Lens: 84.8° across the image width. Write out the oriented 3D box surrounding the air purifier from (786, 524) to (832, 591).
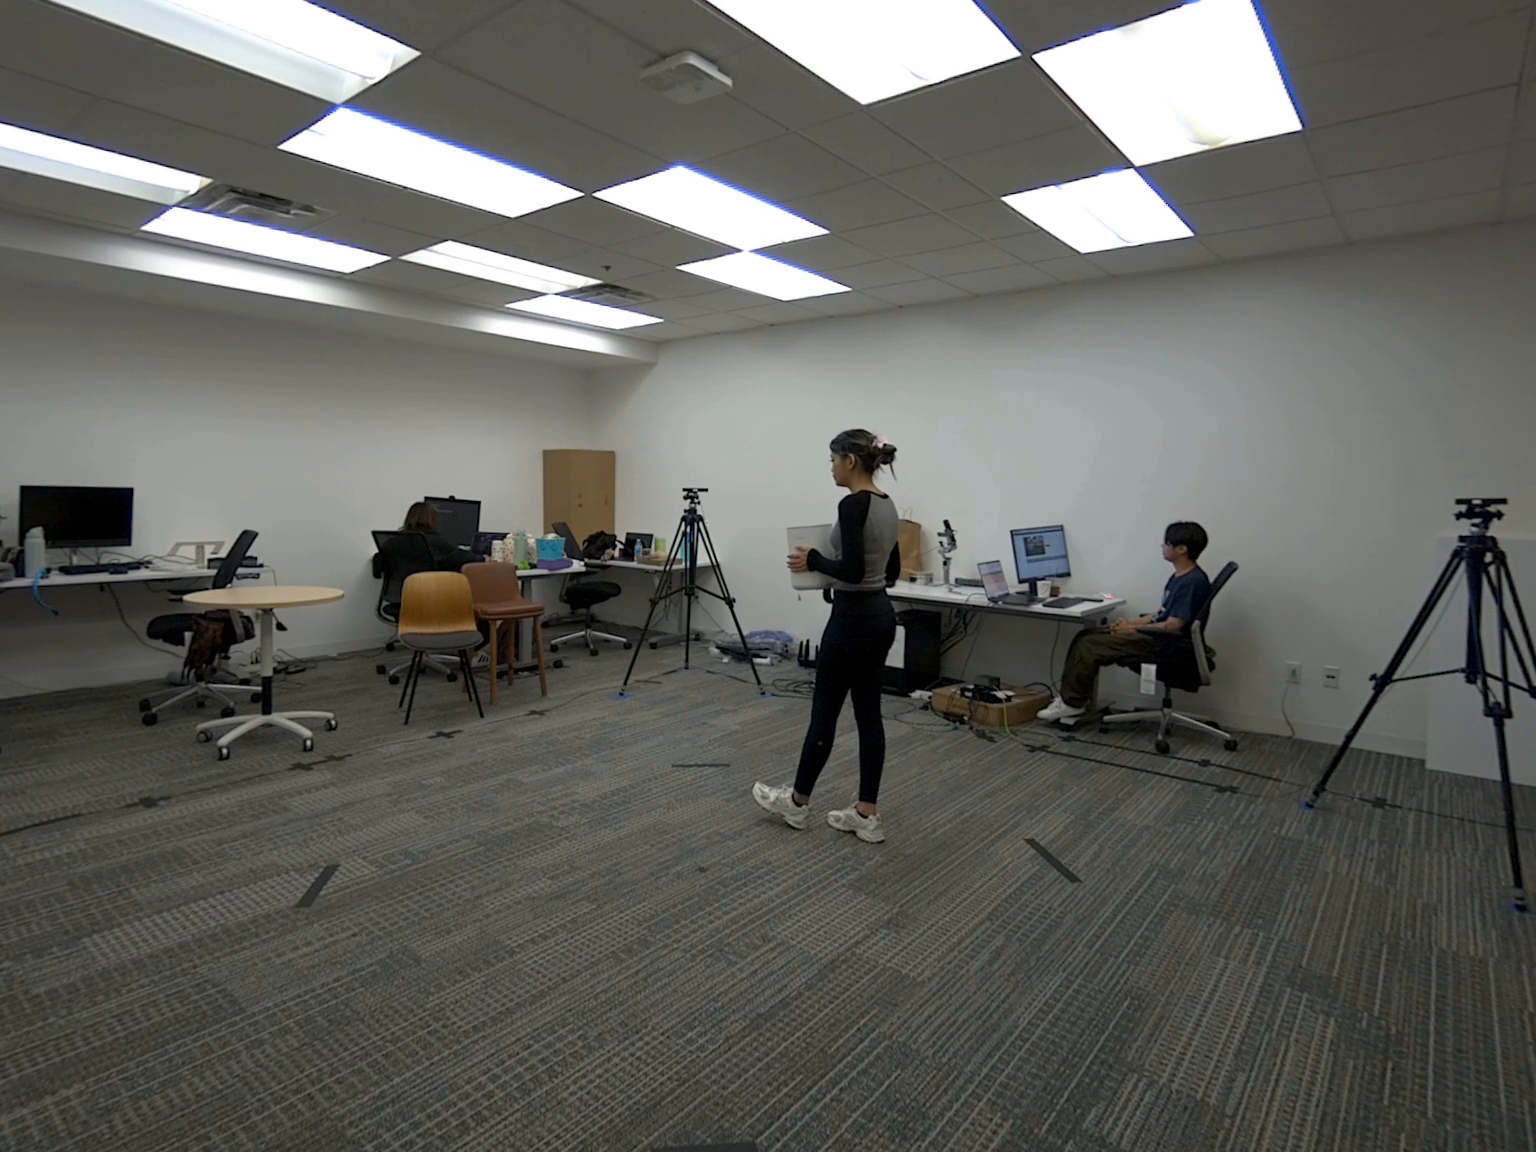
[{"bbox_3d":[0.184,-0.085,3.574,0.176,0.265,0.167,-4,2,31],"label":"air purifier"}]
